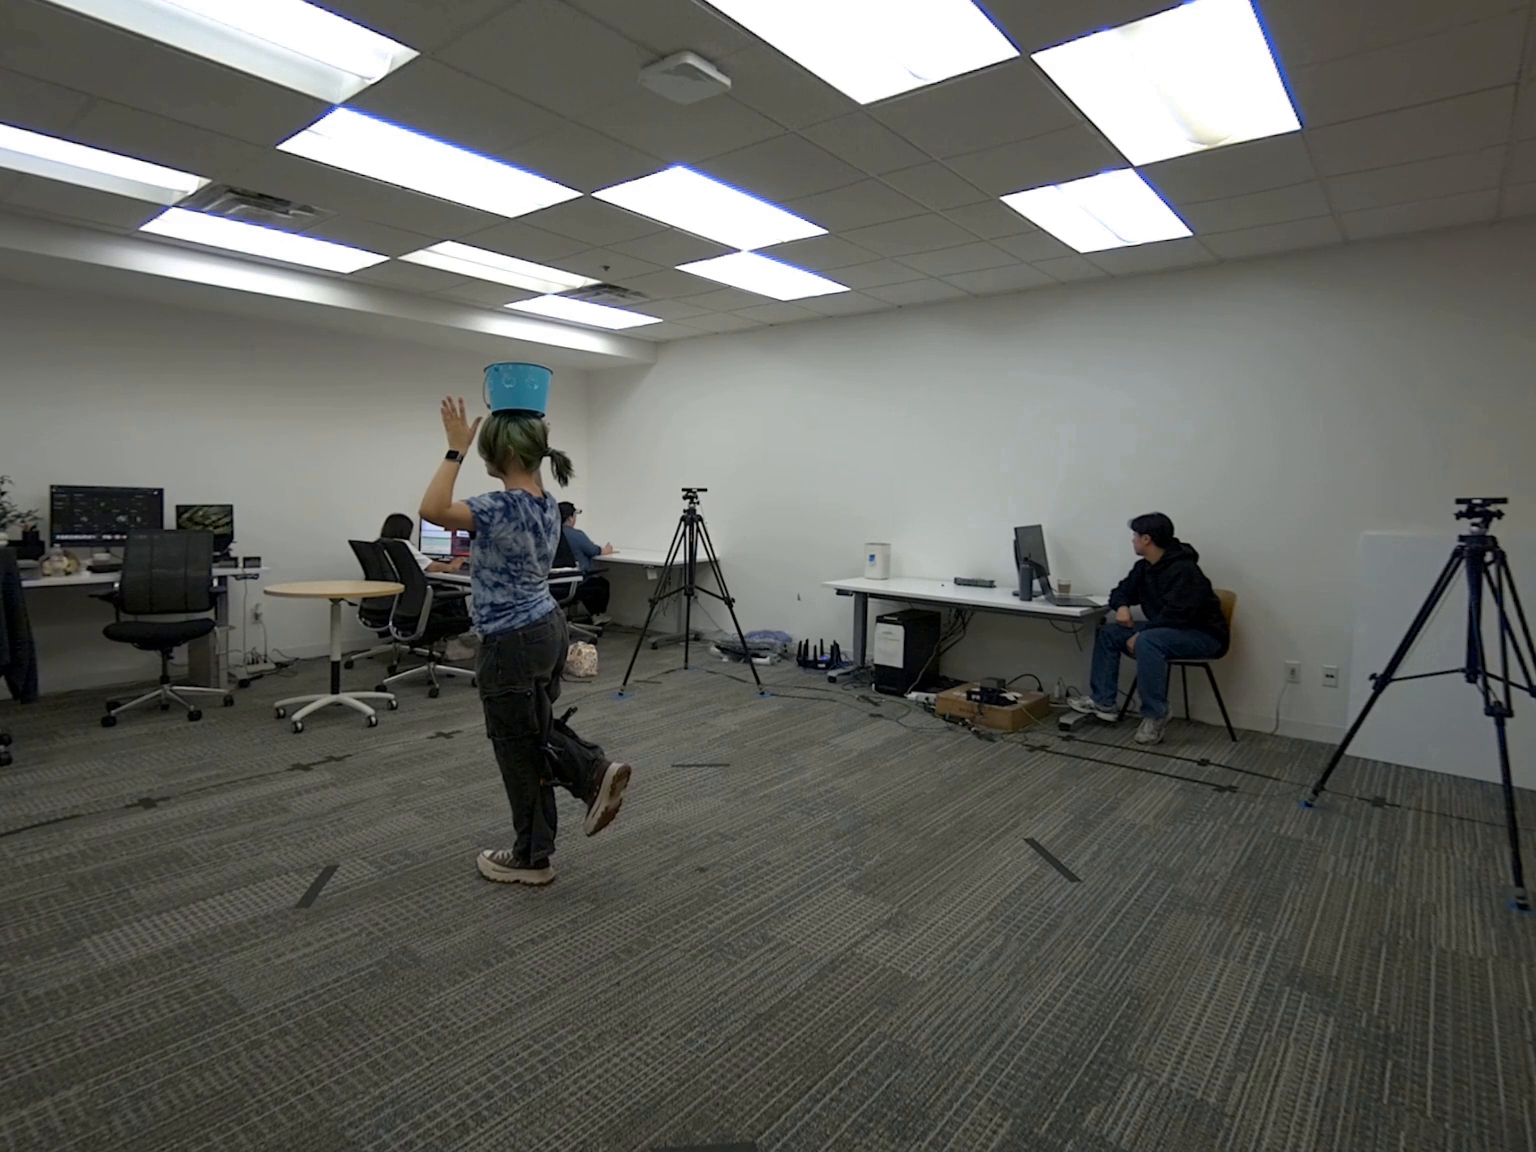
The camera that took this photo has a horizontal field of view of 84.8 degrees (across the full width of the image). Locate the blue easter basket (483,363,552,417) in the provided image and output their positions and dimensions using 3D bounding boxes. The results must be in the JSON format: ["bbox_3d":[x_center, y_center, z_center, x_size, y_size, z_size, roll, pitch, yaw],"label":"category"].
[{"bbox_3d":[-0.873,-0.627,2.918,0.243,0.156,0.243,-2,-2,-2],"label":"blue easter basket"}]
